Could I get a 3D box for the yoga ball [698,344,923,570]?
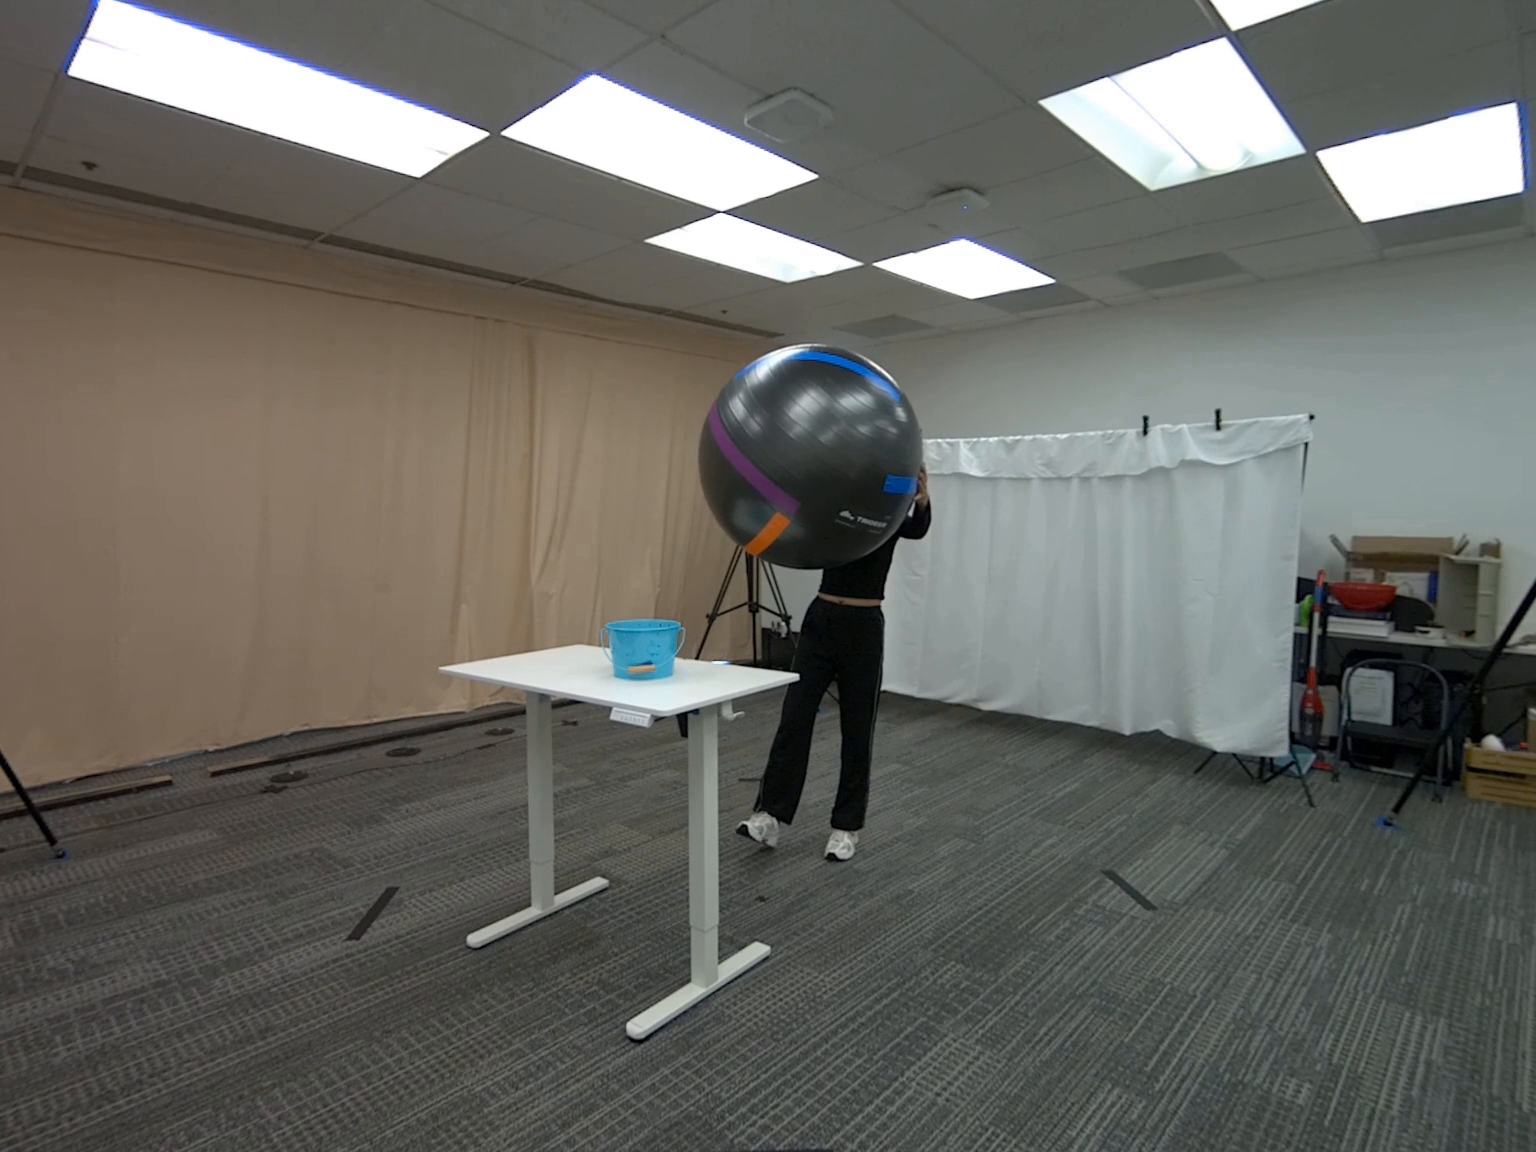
[{"bbox_3d":[0.142,-0.391,2.853,0.757,0.756,0.761,0,4,-2],"label":"yoga ball"}]
